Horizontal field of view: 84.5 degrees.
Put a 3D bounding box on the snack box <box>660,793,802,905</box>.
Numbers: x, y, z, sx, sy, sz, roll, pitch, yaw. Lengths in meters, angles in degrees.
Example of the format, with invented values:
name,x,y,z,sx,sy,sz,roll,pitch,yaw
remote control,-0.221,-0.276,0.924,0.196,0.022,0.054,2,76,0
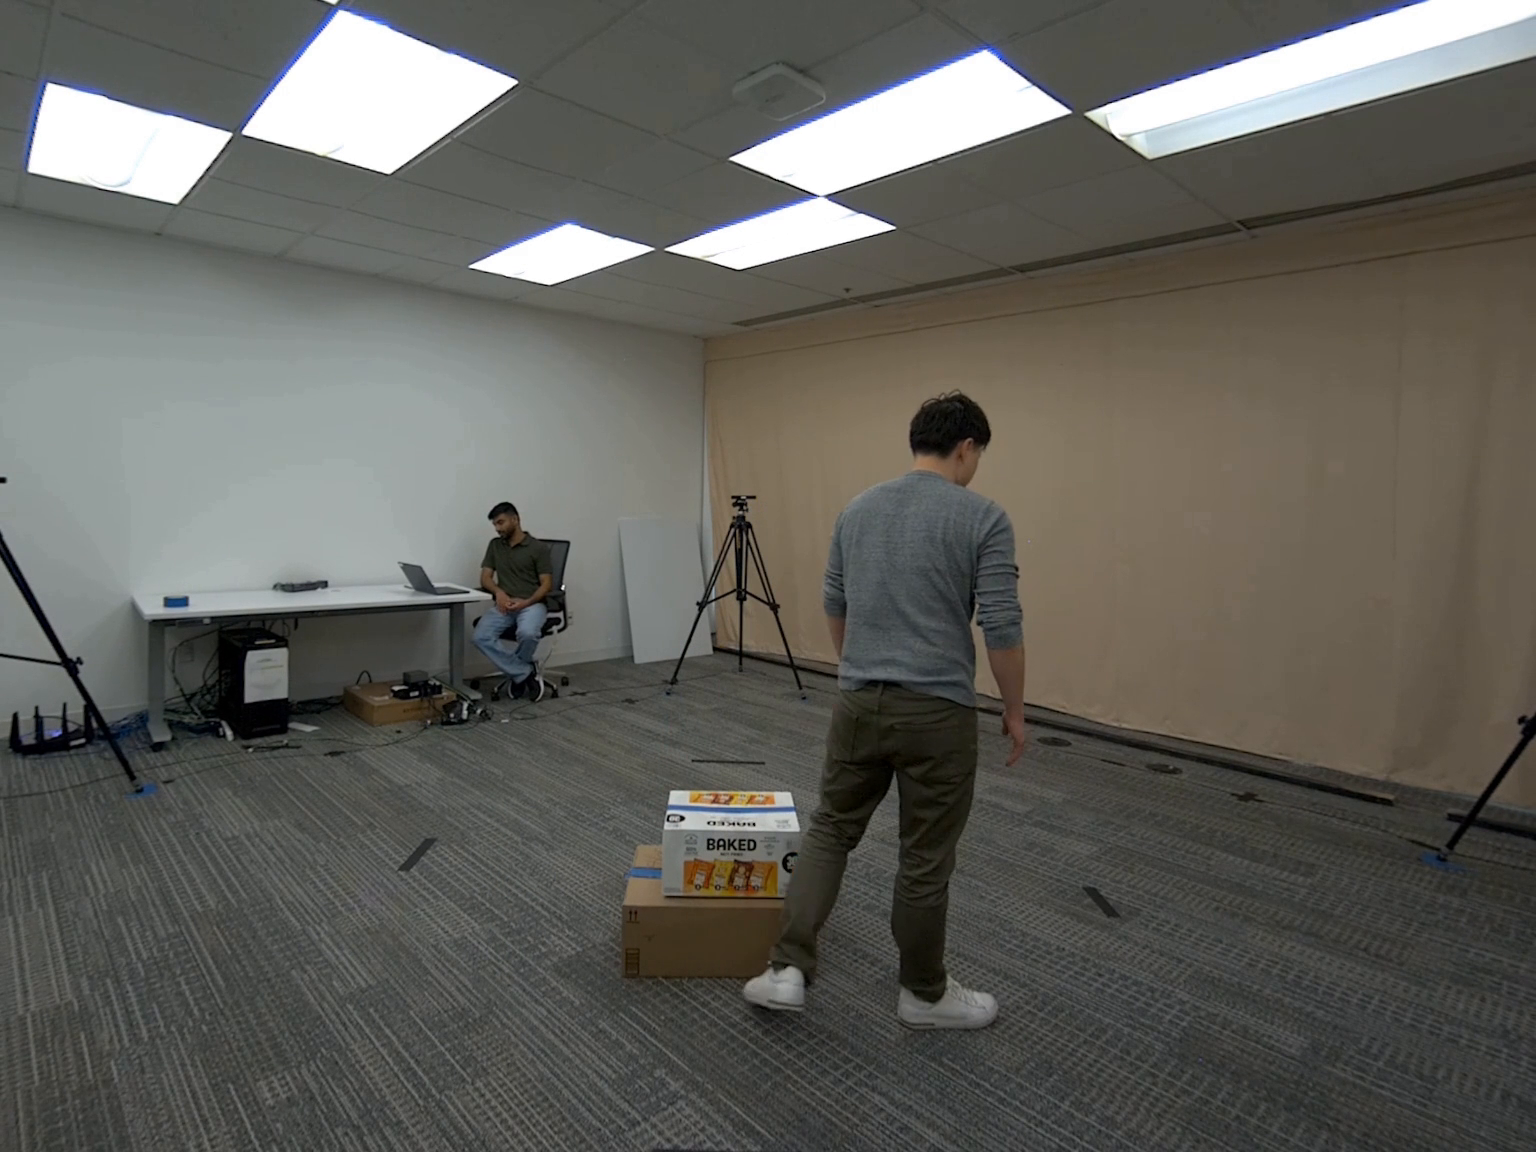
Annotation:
name,x,y,z,sx,sy,sz,roll,pitch,yaw
snack box,-0.118,0.832,2.619,0.405,0.205,0.341,1,3,-2
